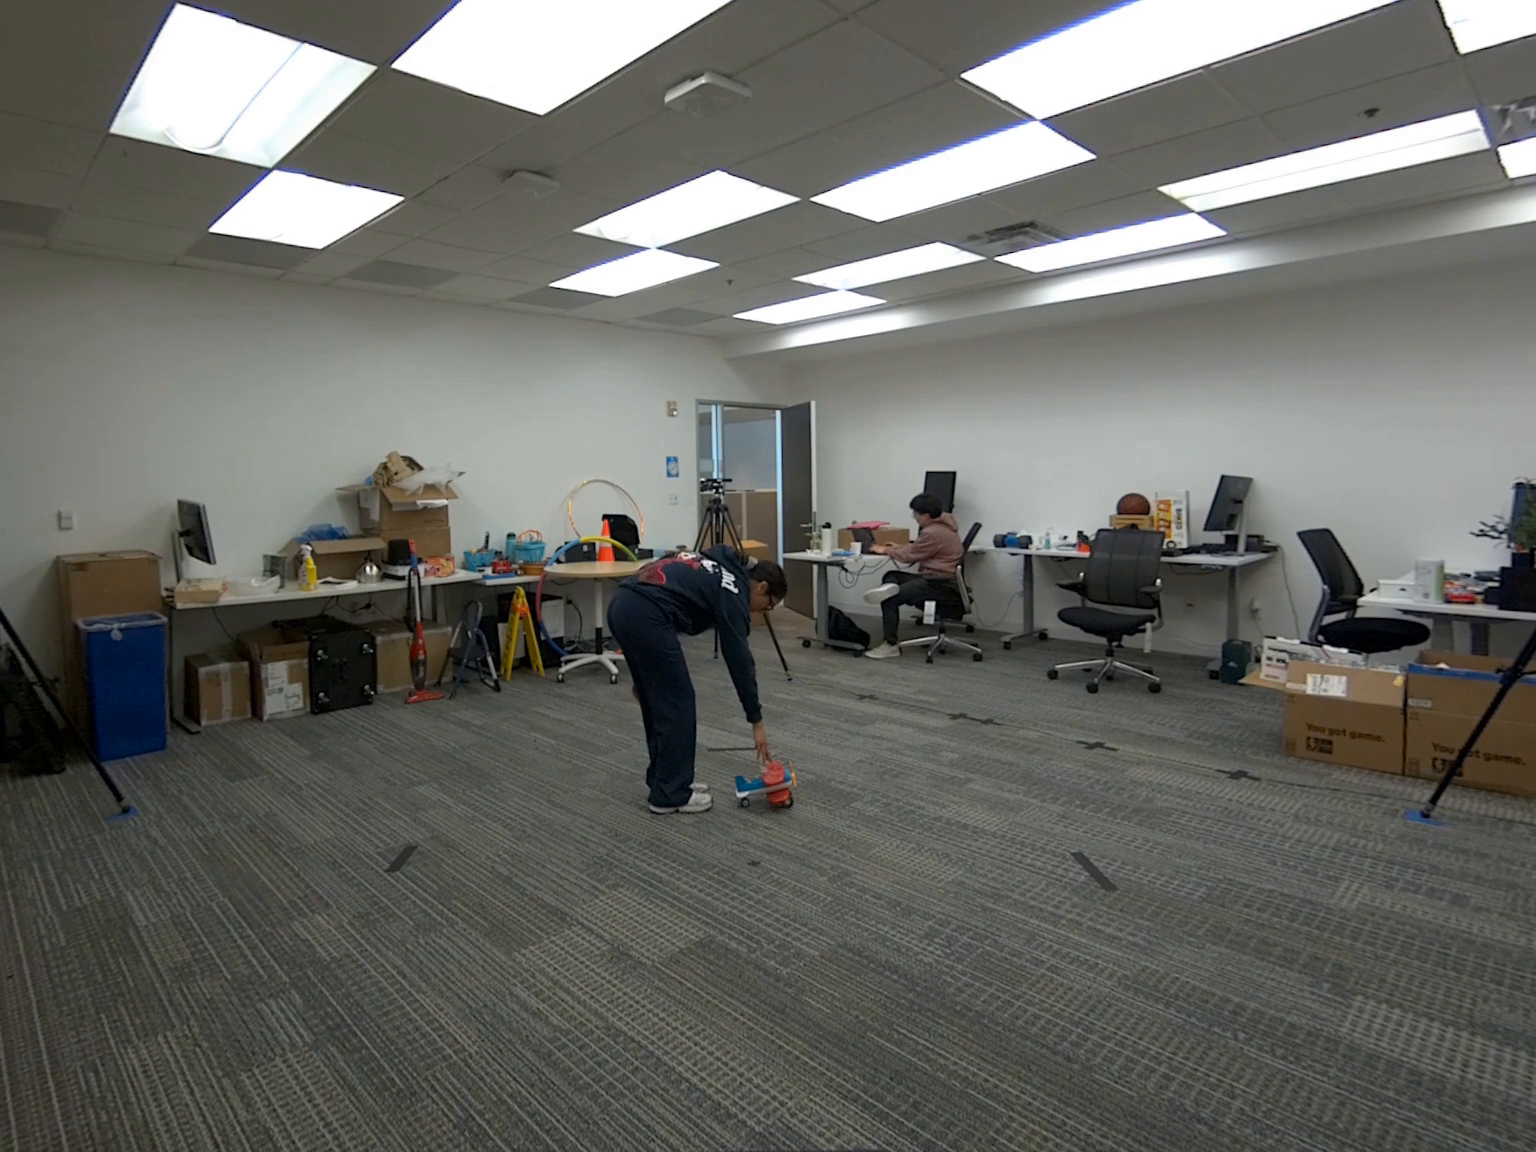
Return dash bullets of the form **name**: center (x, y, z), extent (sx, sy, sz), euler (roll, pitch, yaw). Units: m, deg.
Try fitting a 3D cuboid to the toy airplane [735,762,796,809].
- **toy airplane**: center (-0.009, 0.901, 3.644), extent (0.253, 0.156, 0.258), euler (-4, 6, -27)
